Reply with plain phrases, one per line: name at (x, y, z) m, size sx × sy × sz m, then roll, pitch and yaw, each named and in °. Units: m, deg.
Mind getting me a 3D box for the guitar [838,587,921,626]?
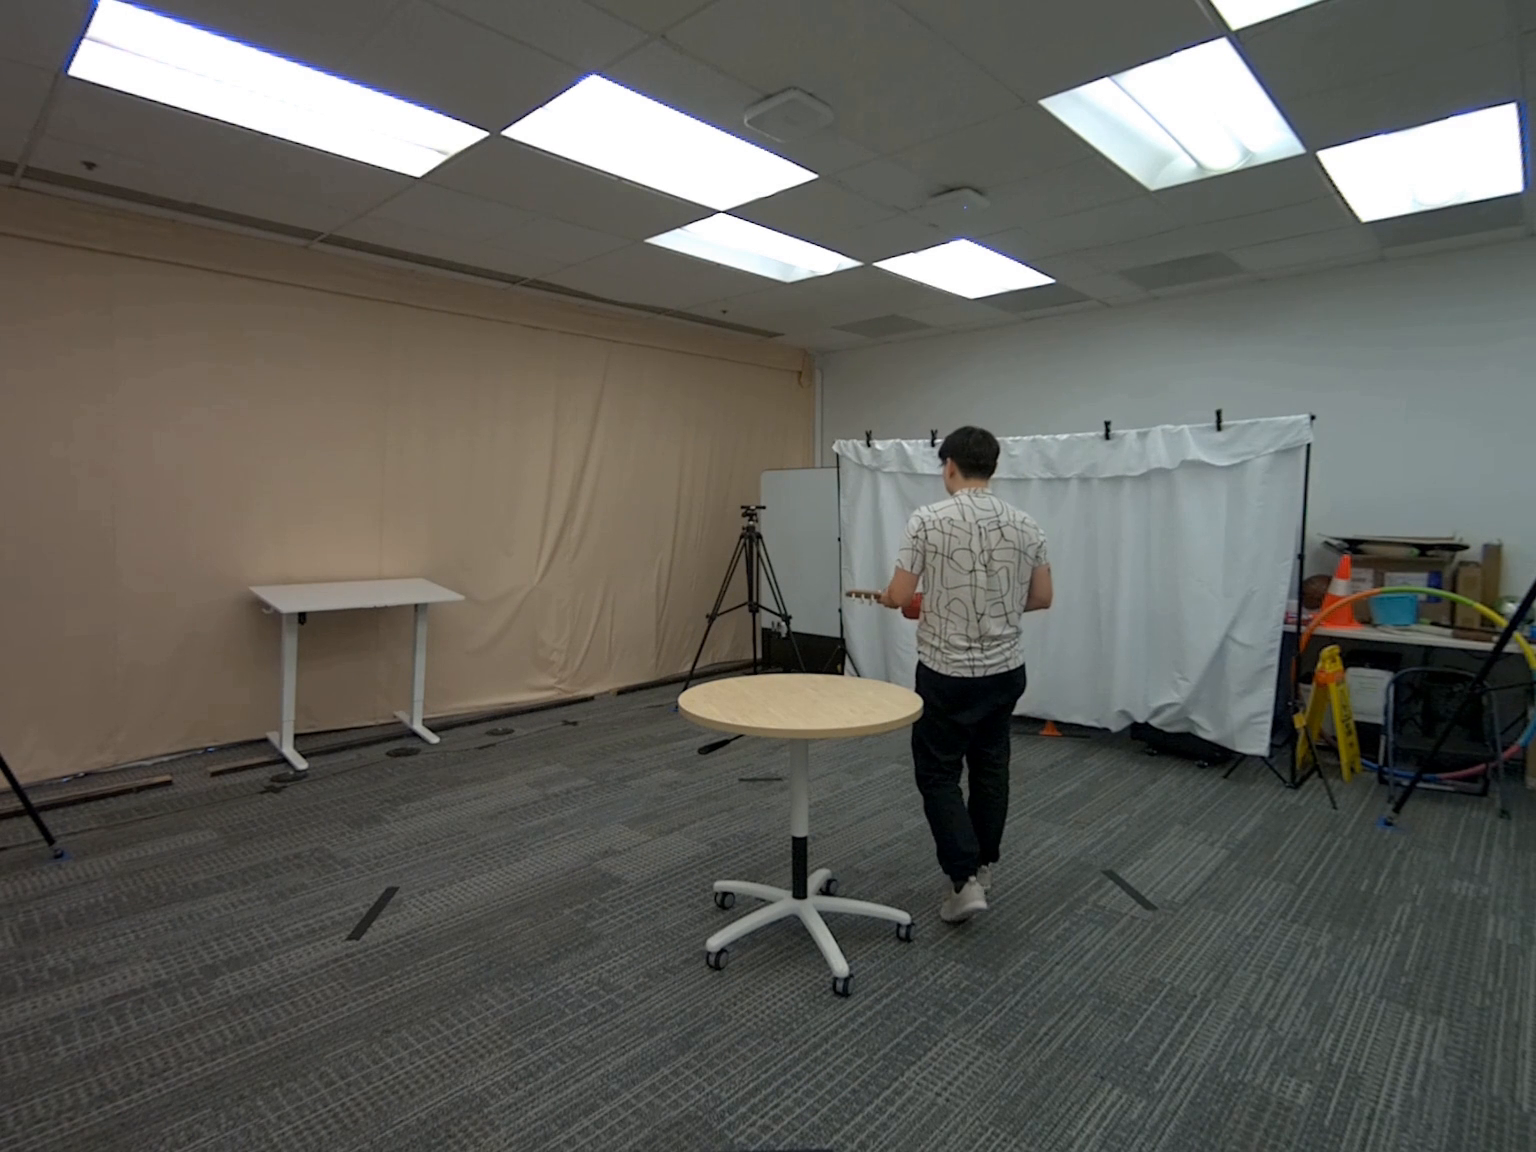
guitar at (0.535, 0.122, 3.264) m, size 0.497 × 0.071 × 0.191 m, roll 4°, pitch -21°, yaw -1°
